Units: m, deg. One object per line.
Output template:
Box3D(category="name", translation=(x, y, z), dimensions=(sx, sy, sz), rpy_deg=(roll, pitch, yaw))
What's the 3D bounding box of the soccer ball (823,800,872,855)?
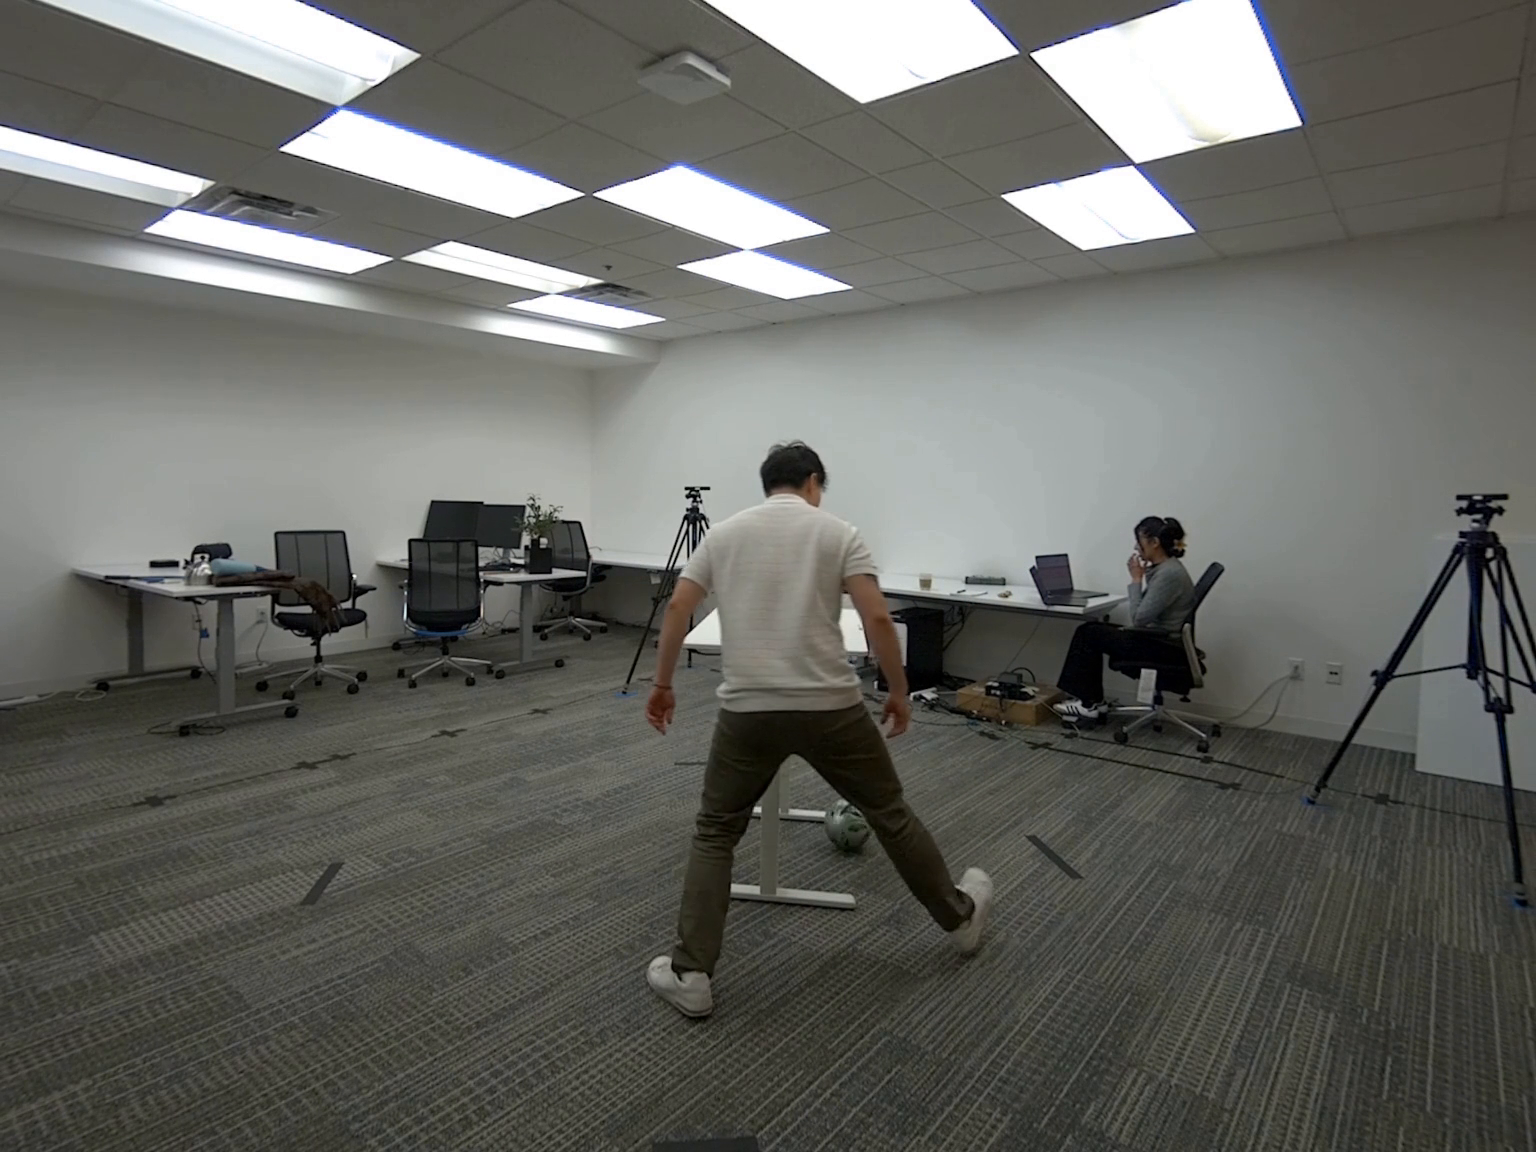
Box3D(category="soccer ball", translation=(0.306, 0.962, 3.302), dimensions=(0.187, 0.187, 0.188), rpy_deg=(1, 4, -2))
